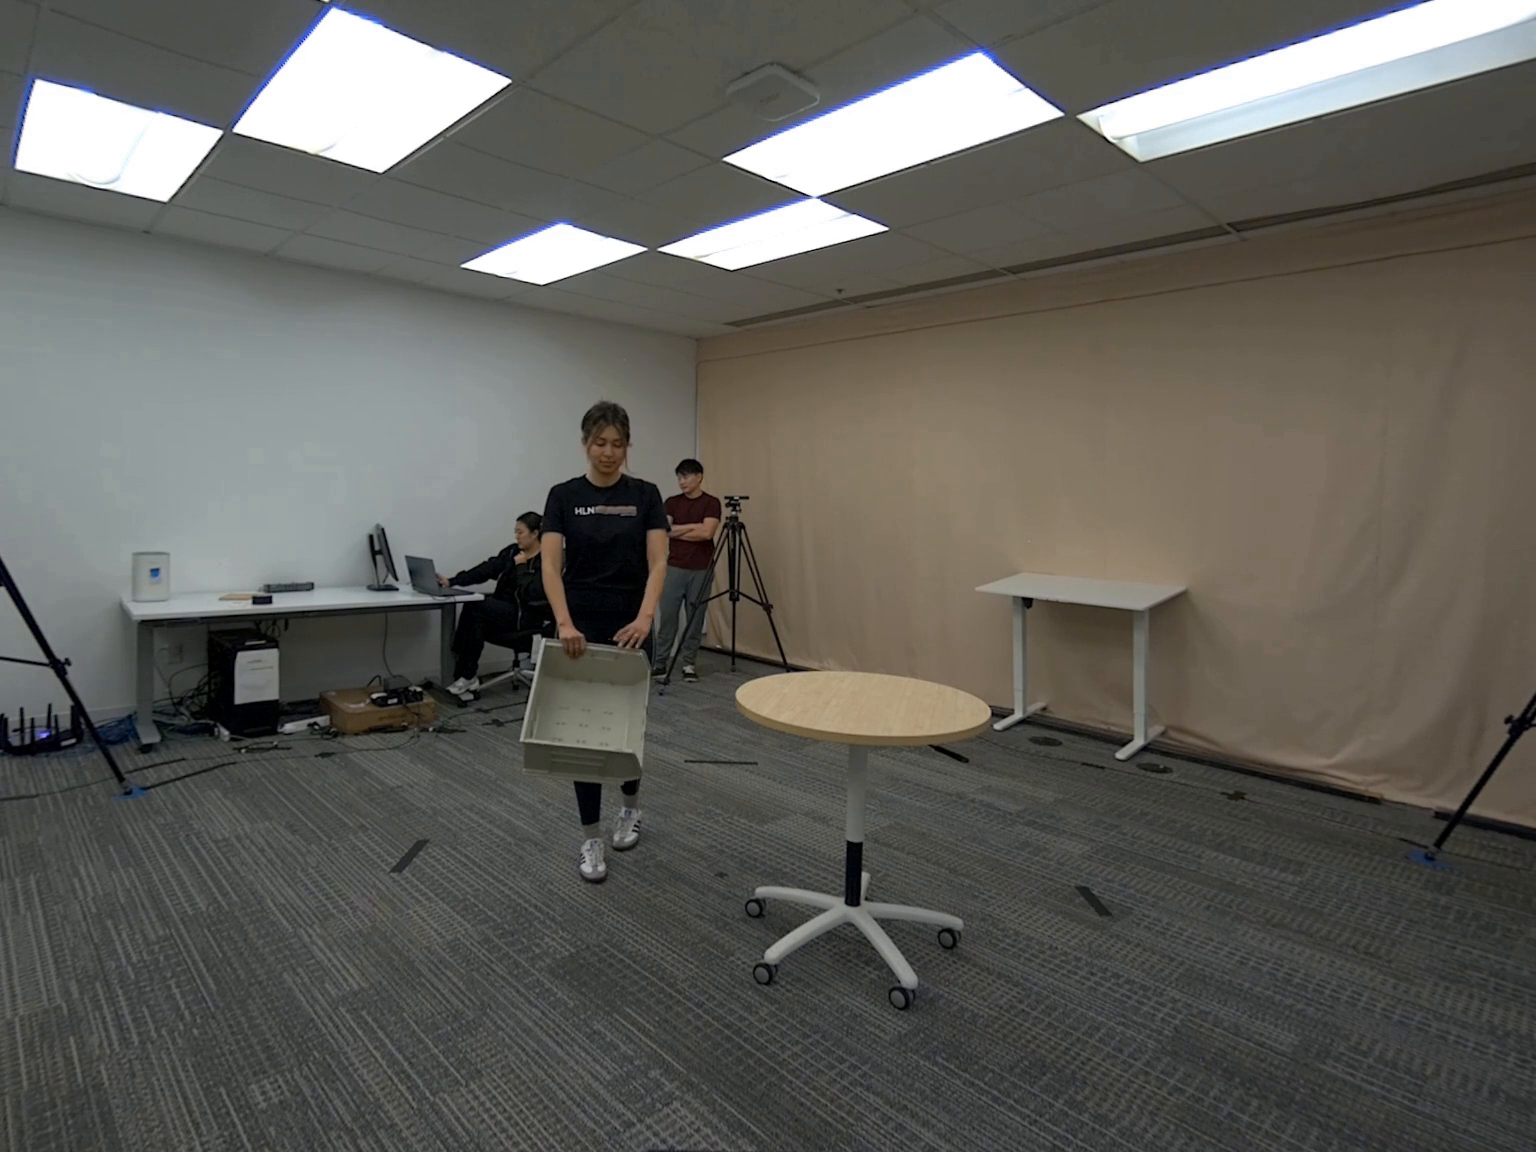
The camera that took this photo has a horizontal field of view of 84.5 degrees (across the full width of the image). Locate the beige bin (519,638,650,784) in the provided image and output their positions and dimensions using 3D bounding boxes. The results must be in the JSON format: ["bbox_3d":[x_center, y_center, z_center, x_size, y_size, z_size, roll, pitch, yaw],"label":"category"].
[{"bbox_3d":[-0.595,0.440,2.731,0.375,0.186,0.432,5,41,-7],"label":"beige bin"}]
